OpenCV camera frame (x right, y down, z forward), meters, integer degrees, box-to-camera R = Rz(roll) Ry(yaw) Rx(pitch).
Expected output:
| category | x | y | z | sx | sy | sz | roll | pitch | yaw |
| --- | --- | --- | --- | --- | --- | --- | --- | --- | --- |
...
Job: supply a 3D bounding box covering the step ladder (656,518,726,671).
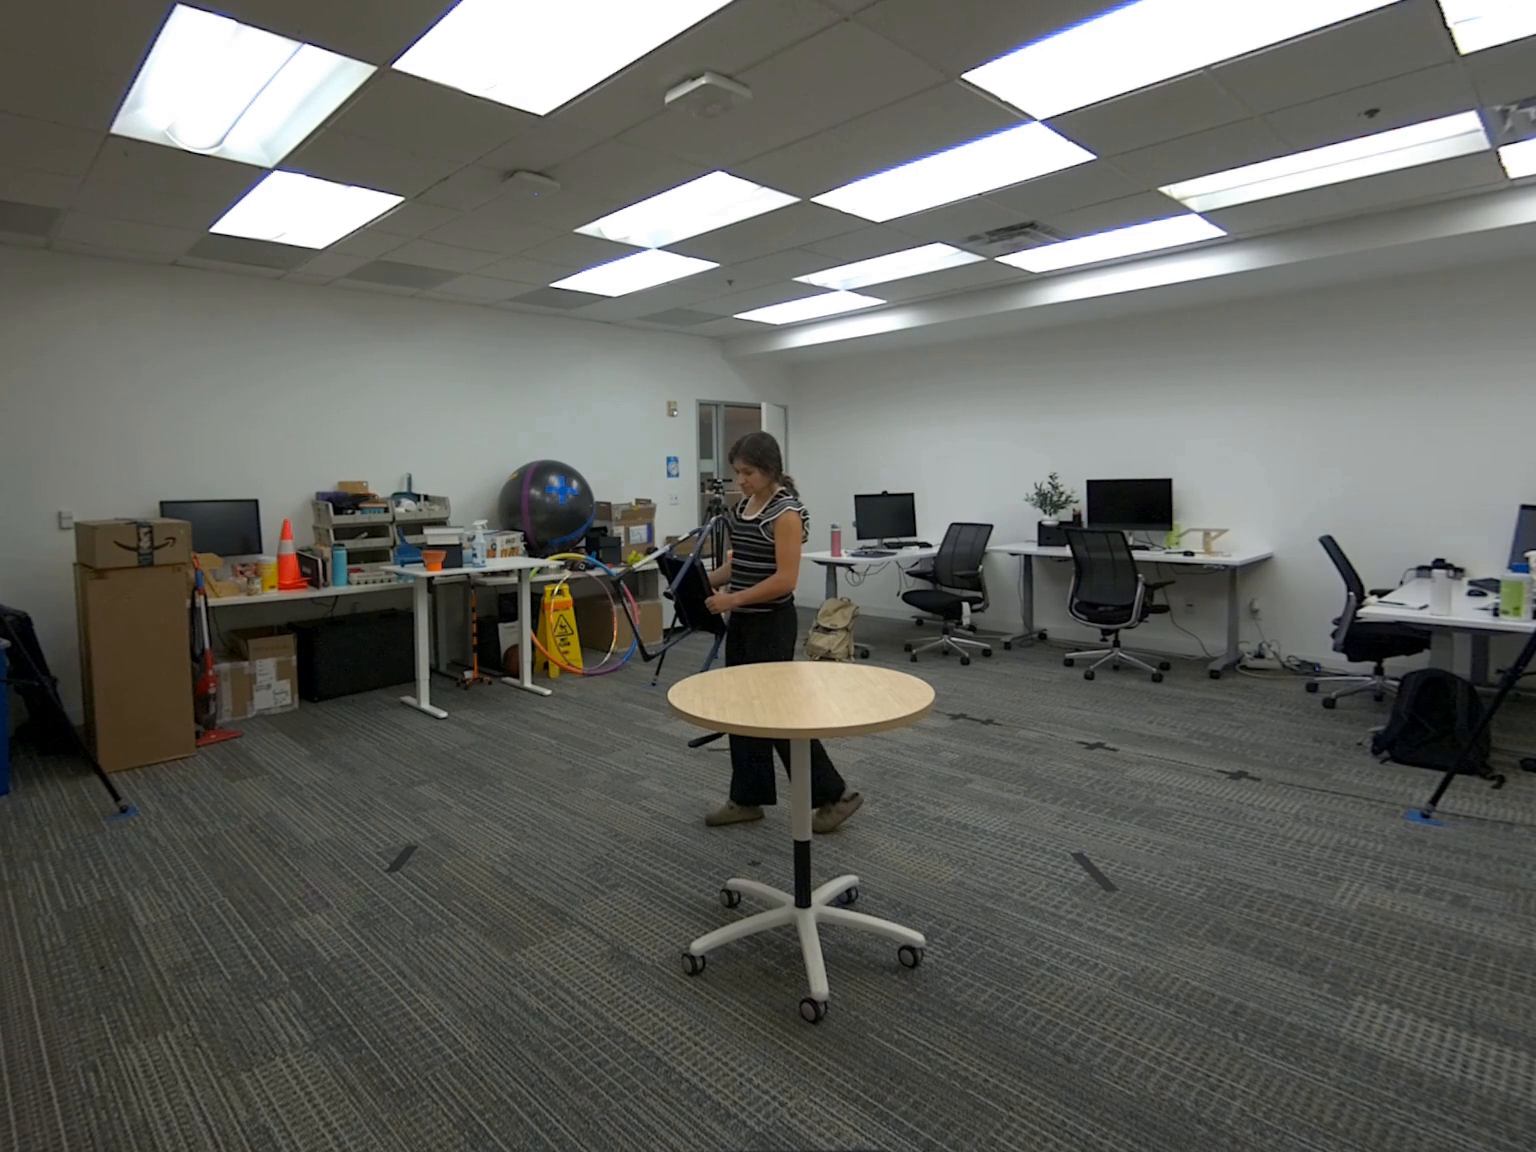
| category | x | y | z | sx | sy | sz | roll | pitch | yaw |
| --- | --- | --- | --- | --- | --- | --- | --- | --- | --- |
| step ladder | -0.253 | 0.039 | 3.437 | 0.361 | 0.418 | 0.604 | 9 | 39 | 39 |
